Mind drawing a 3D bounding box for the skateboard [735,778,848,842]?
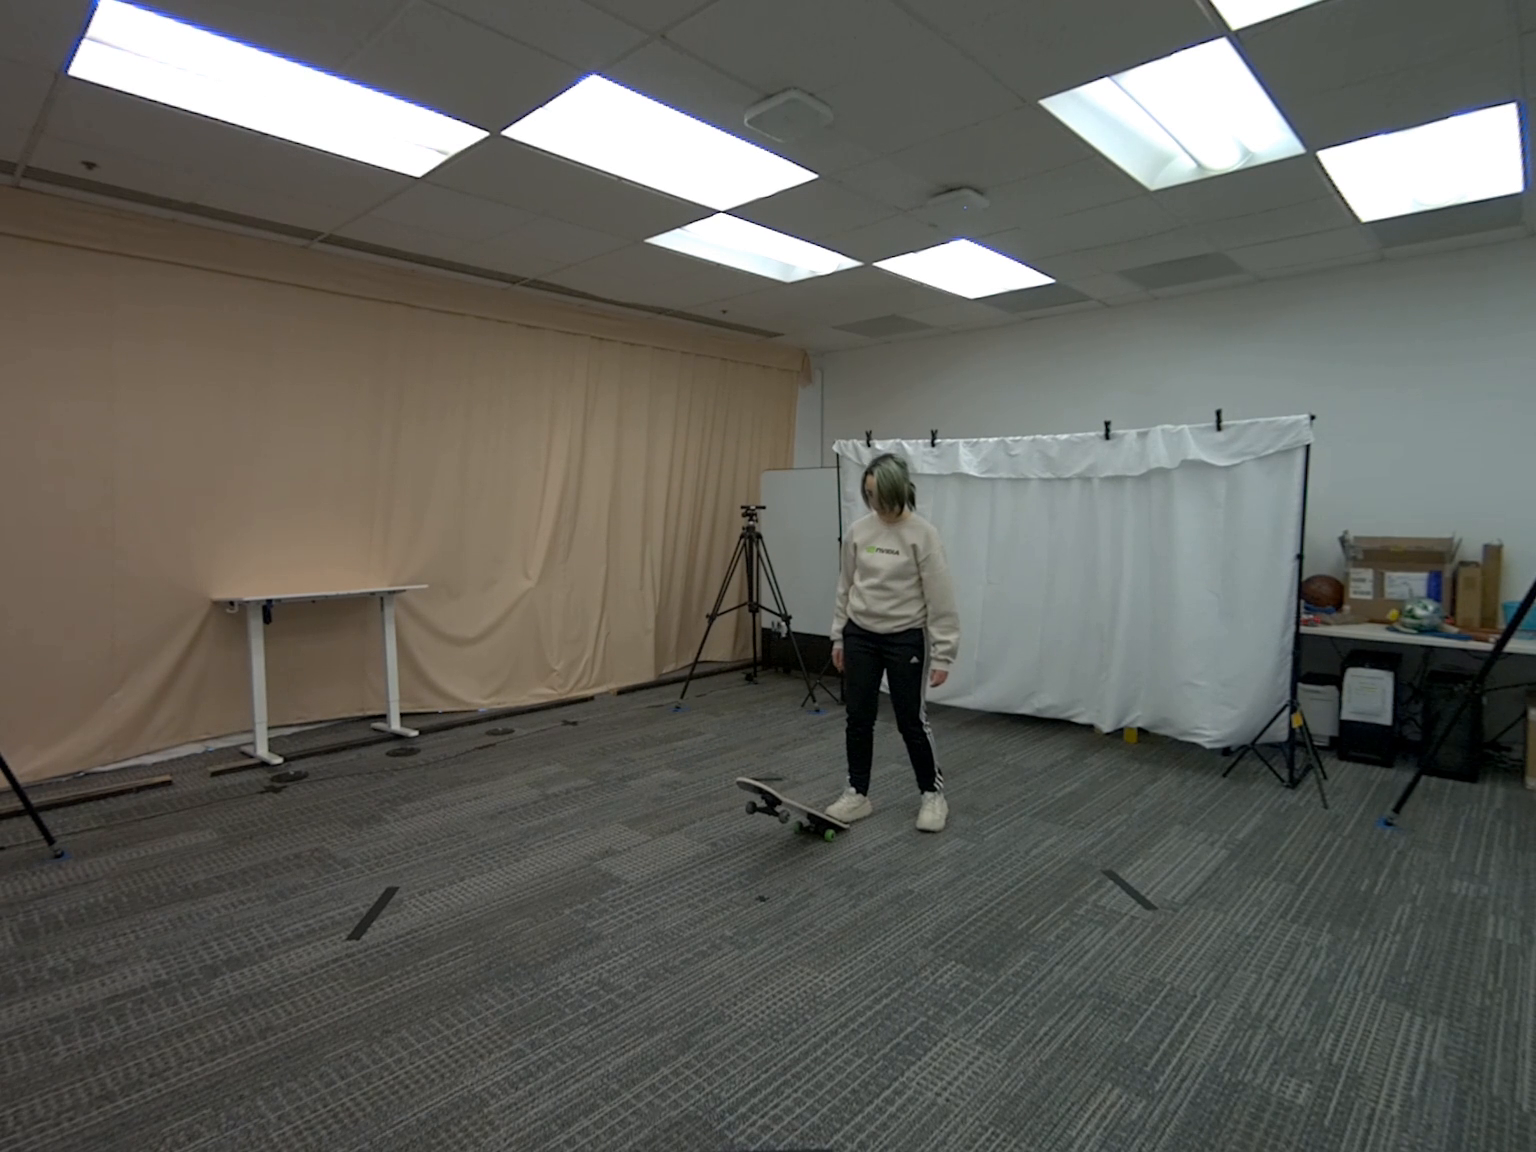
[{"bbox_3d":[0.106,0.967,3.405,0.199,0.111,0.757,3,-23,35],"label":"skateboard"}]
